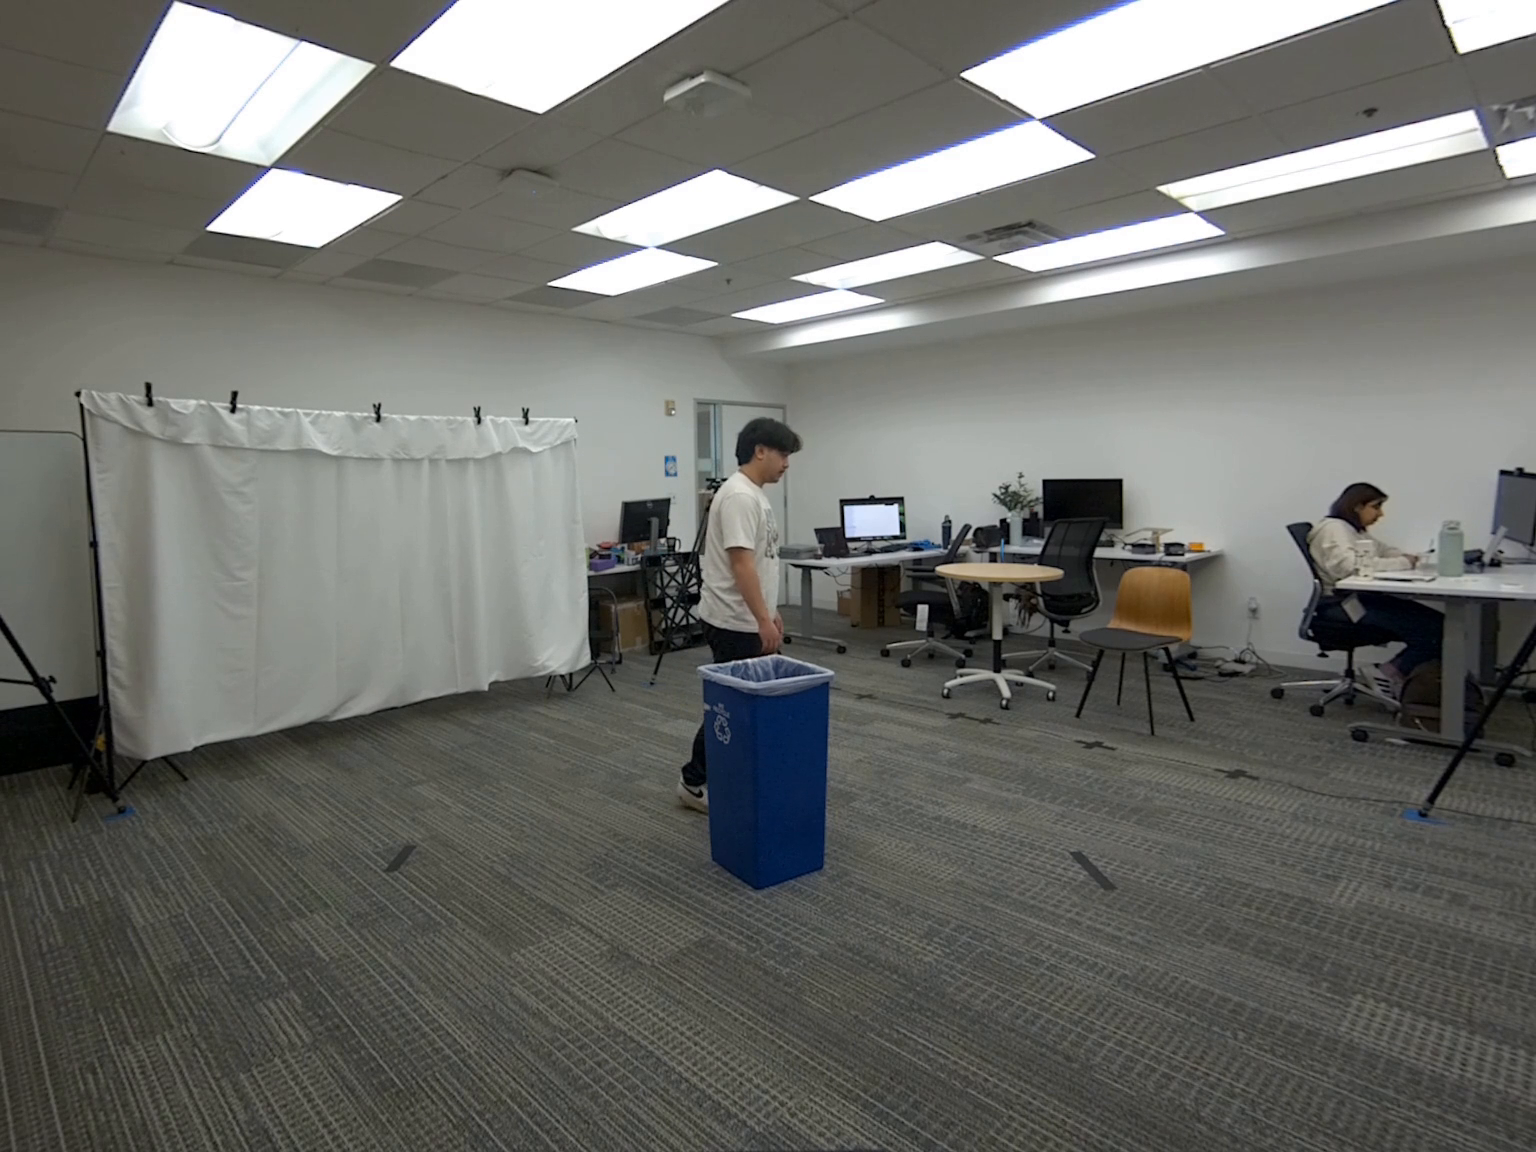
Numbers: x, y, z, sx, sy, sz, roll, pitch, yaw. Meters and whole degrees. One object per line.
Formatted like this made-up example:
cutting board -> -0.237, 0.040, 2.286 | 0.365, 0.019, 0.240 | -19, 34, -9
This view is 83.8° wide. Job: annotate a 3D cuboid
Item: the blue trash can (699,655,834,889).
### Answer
blue trash can -> -0.001, 0.689, 3.071 | 0.368, 0.711, 0.385 | -4, 5, -35
